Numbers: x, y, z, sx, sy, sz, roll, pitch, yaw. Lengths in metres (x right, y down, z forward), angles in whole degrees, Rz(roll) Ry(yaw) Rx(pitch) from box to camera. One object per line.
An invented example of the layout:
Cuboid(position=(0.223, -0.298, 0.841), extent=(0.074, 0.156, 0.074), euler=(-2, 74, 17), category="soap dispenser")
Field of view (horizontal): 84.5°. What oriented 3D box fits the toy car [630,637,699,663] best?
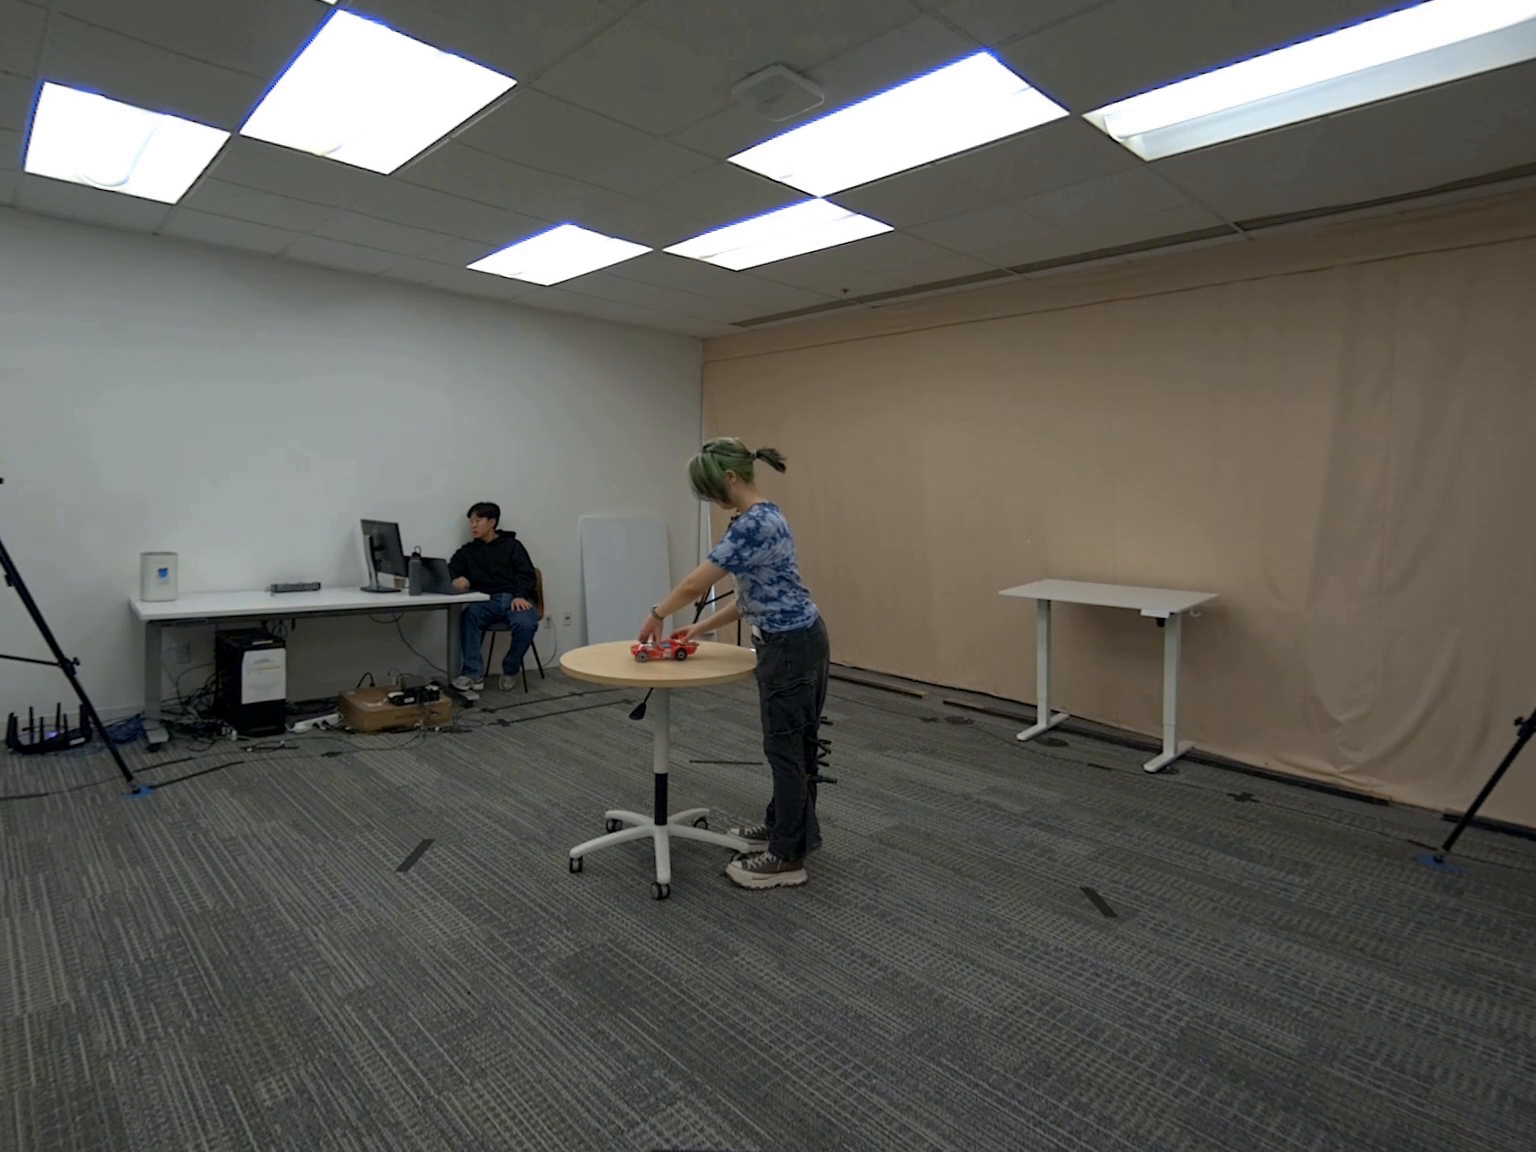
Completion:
Cuboid(position=(-0.387, 0.279, 3.154), extent=(0.253, 0.083, 0.132), euler=(-13, 7, -10), category="toy car")
